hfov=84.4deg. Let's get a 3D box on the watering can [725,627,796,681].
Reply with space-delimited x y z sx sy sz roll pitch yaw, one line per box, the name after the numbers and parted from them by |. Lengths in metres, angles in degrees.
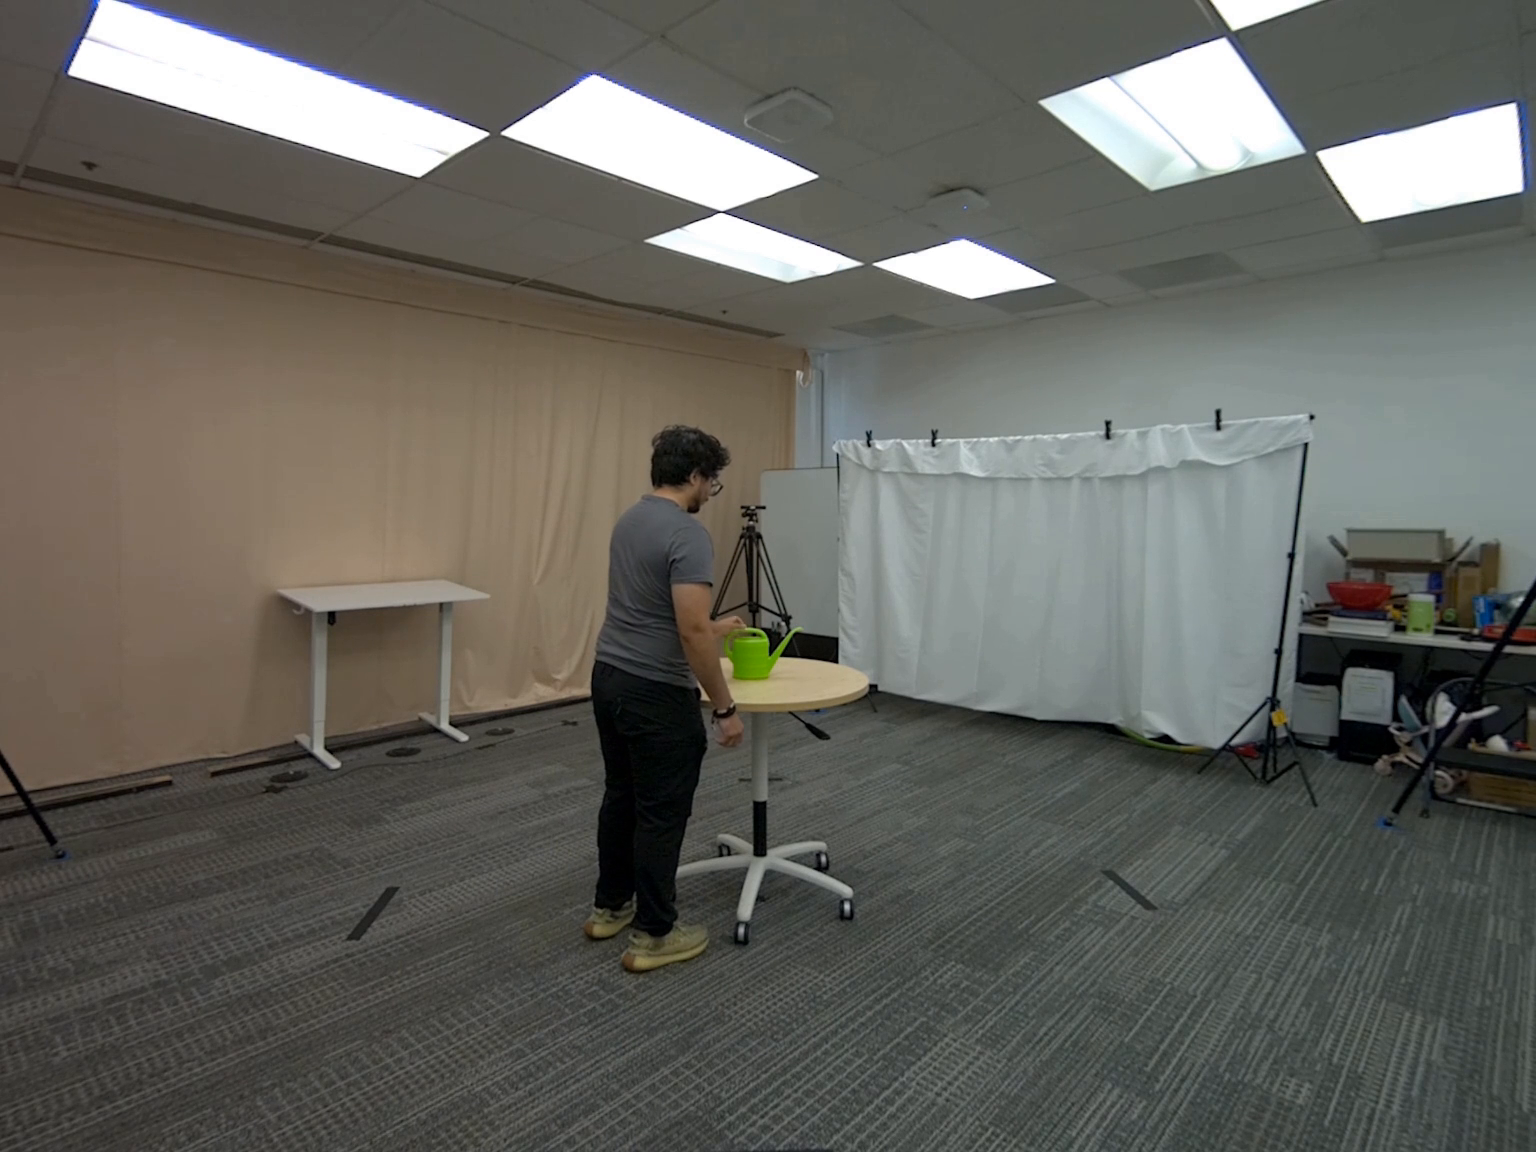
-0.009 0.277 2.966 0.285 0.176 0.096 1 5 22 | watering can
